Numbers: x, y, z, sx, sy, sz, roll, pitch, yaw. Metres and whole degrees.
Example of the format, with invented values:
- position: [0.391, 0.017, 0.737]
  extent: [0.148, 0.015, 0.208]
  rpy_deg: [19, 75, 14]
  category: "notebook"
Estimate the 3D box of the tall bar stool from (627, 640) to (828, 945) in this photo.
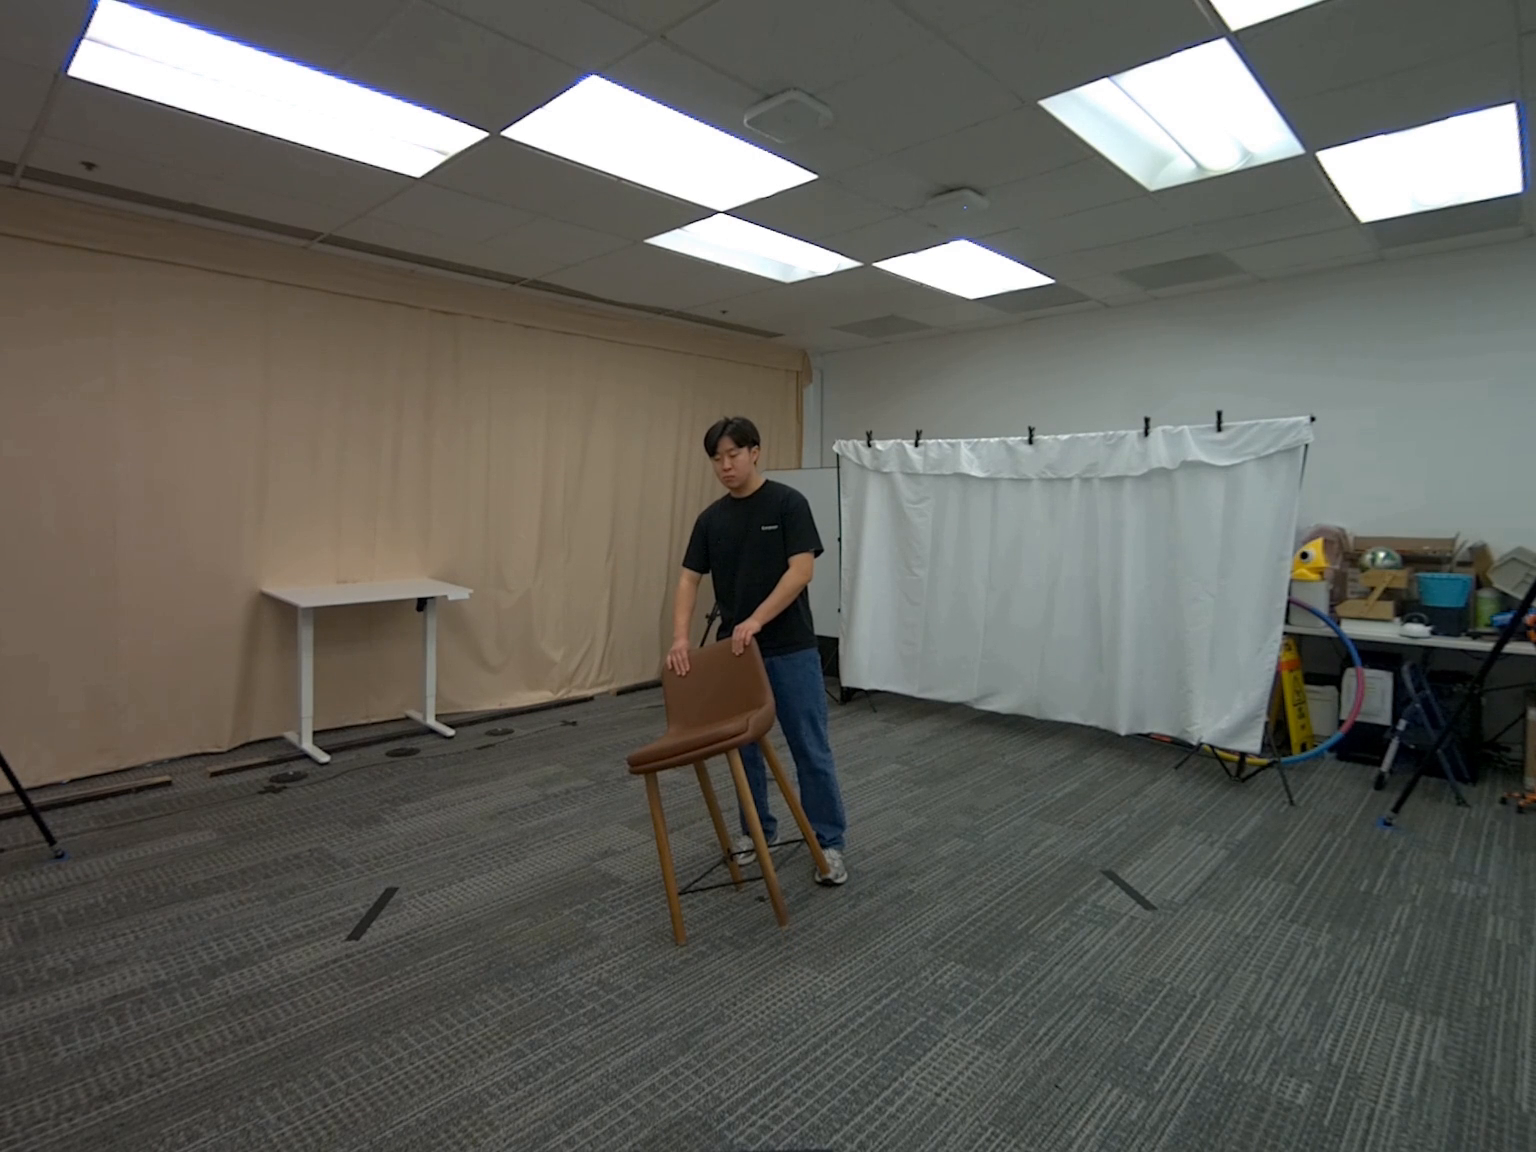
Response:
- position: [-0.164, 0.685, 2.842]
  extent: [0.465, 0.897, 0.455]
  rpy_deg: [-21, -9, 25]
  category: "tall bar stool"
